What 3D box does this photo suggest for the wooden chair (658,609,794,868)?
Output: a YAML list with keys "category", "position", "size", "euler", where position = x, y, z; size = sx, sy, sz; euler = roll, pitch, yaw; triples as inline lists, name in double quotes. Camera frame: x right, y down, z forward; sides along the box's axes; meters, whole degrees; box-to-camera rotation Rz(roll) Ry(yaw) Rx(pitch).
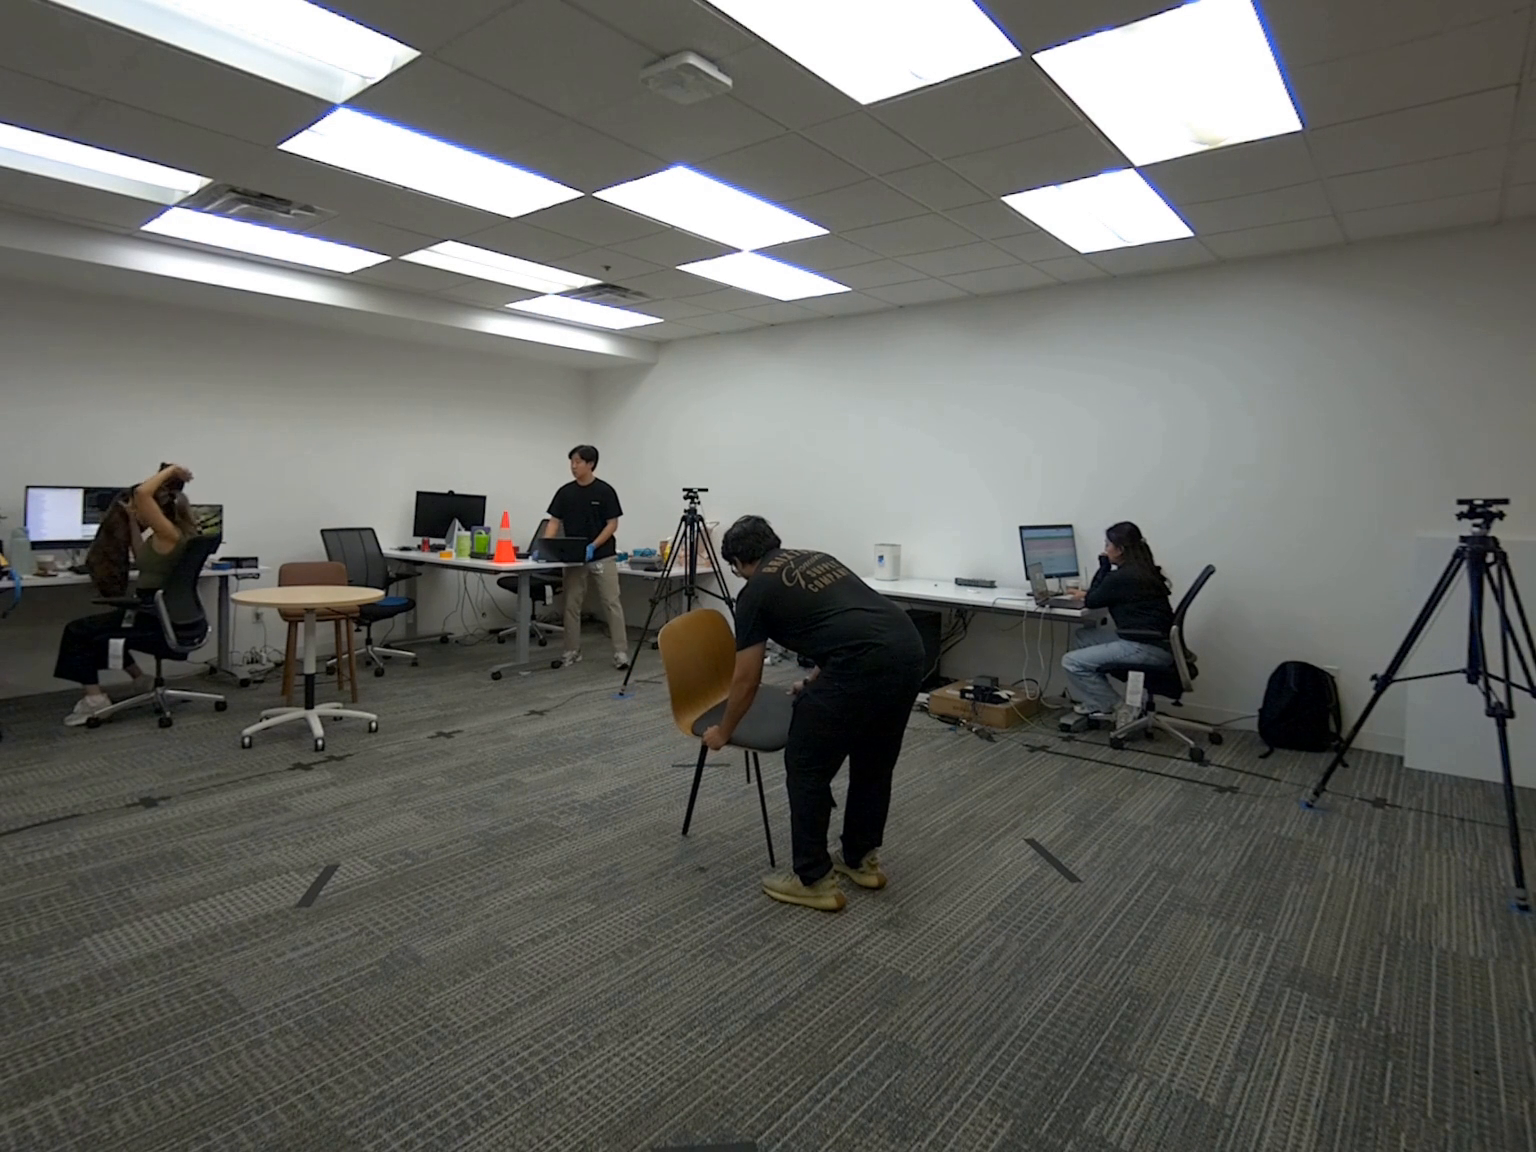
- category: "wooden chair"
  position: [-0.091, 0.582, 3.335]
  size: [0.539, 0.867, 0.469]
  euler: [-1, 14, 39]
